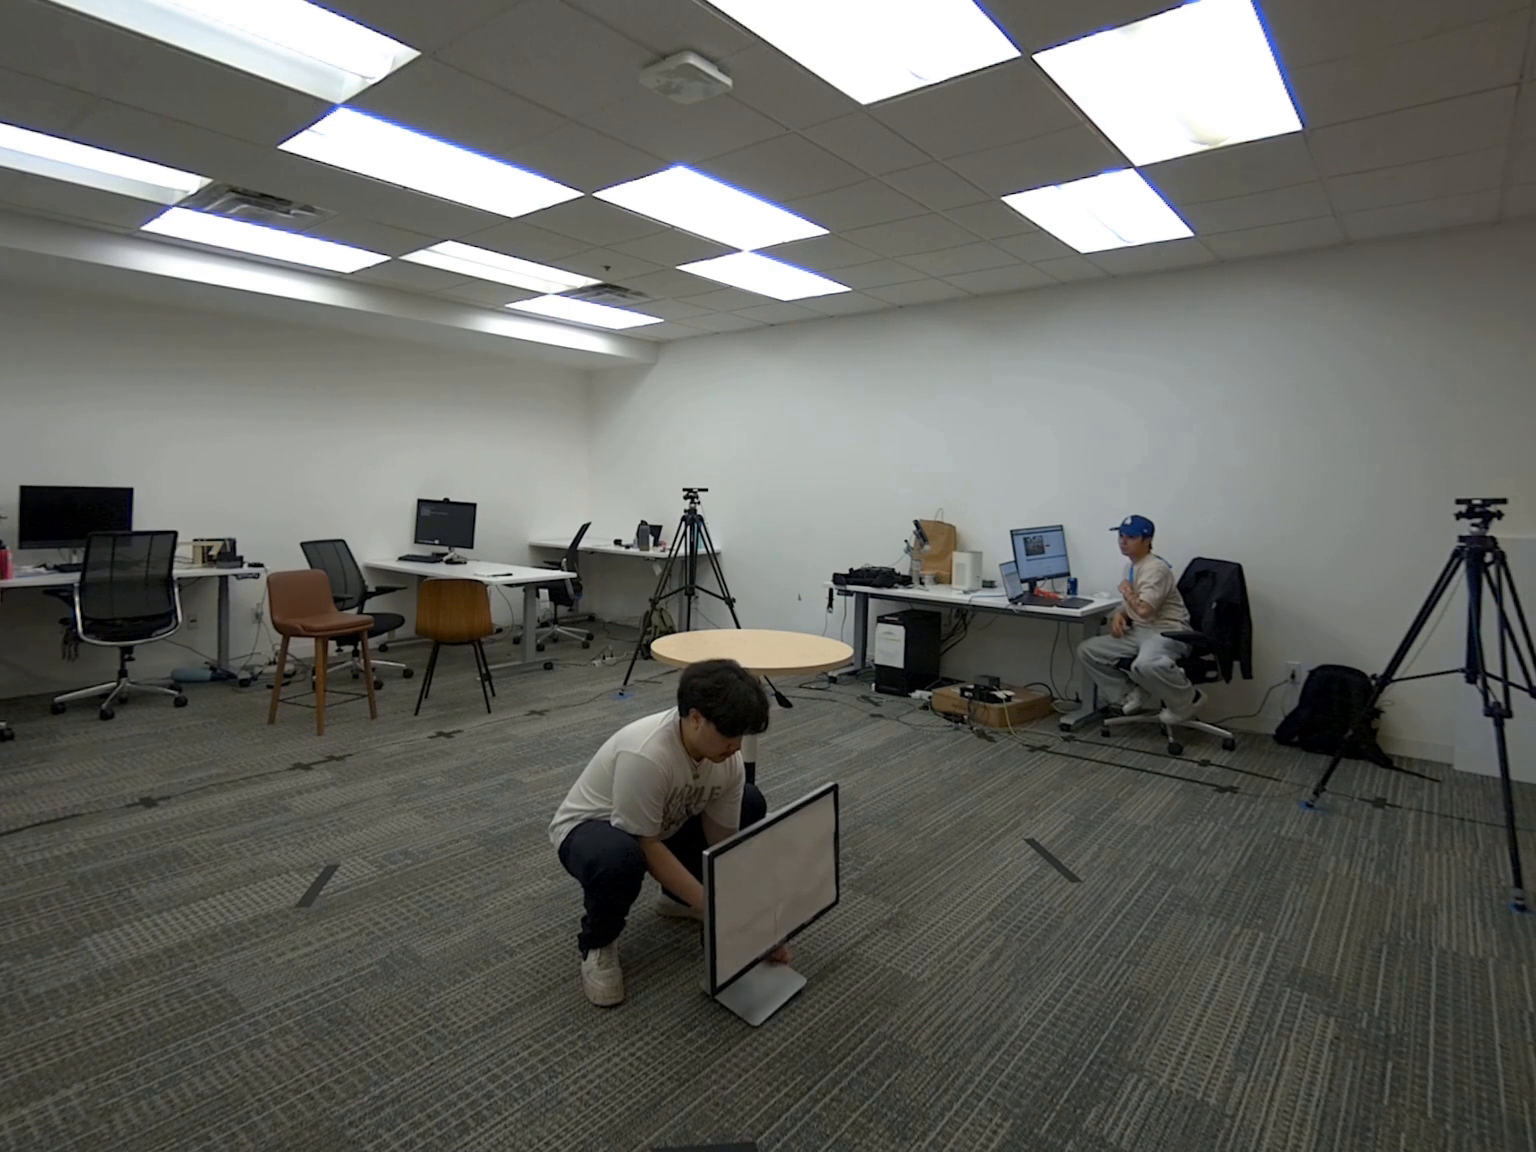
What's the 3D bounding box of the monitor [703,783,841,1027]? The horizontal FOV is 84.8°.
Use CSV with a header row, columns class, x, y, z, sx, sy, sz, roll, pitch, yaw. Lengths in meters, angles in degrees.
class,x,y,z,sx,sy,sz,roll,pitch,yaw
monitor,-0.031,0.879,2.314,0.218,0.549,0.550,10,12,39
